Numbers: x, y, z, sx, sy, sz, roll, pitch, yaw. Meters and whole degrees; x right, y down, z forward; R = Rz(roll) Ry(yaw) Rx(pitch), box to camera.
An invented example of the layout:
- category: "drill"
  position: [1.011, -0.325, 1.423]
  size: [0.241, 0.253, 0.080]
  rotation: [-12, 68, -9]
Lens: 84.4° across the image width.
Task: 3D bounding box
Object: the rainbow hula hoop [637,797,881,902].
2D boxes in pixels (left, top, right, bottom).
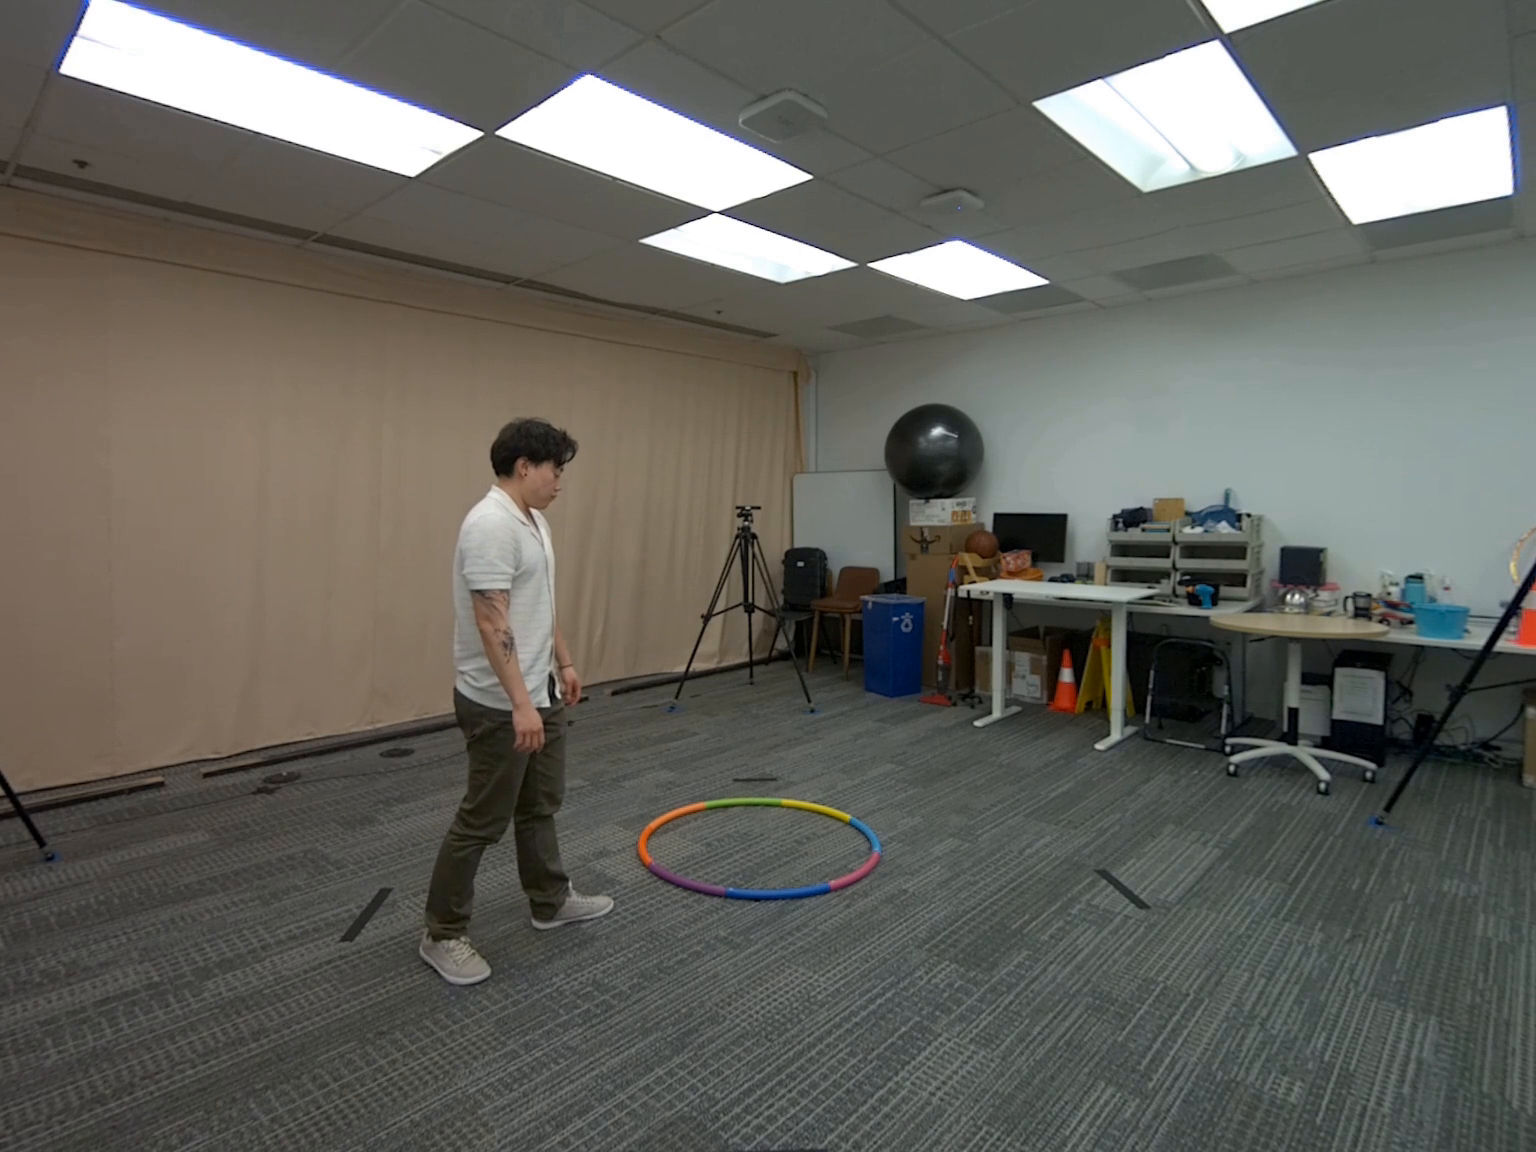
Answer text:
- category: "rainbow hula hoop"
  position: [-0.039, 1.074, 3.444]
  size: [0.978, 0.035, 0.982]
  rotation: [0, 5, -2]
